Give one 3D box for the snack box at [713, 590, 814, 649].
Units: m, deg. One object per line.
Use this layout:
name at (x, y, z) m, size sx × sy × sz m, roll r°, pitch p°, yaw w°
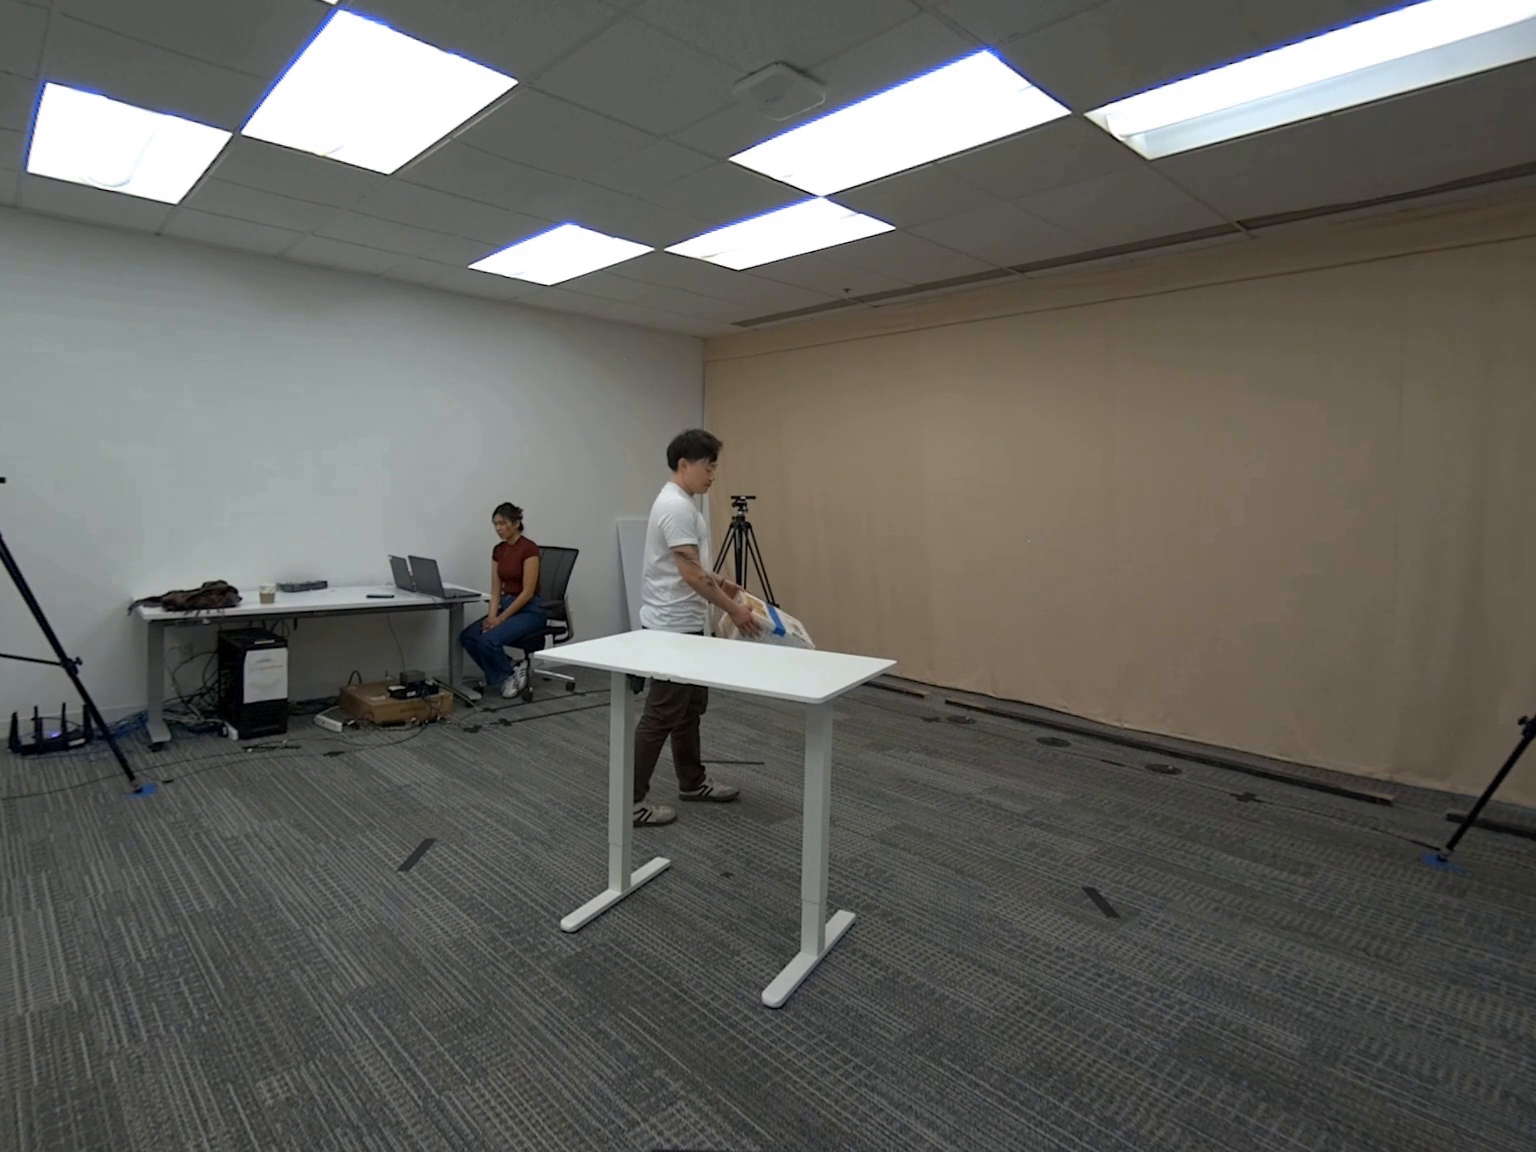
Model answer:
snack box at (-0.028, 0.268, 3.815) m, size 0.336 × 0.205 × 0.411 m, roll 28°, pitch 8°, yaw -12°
